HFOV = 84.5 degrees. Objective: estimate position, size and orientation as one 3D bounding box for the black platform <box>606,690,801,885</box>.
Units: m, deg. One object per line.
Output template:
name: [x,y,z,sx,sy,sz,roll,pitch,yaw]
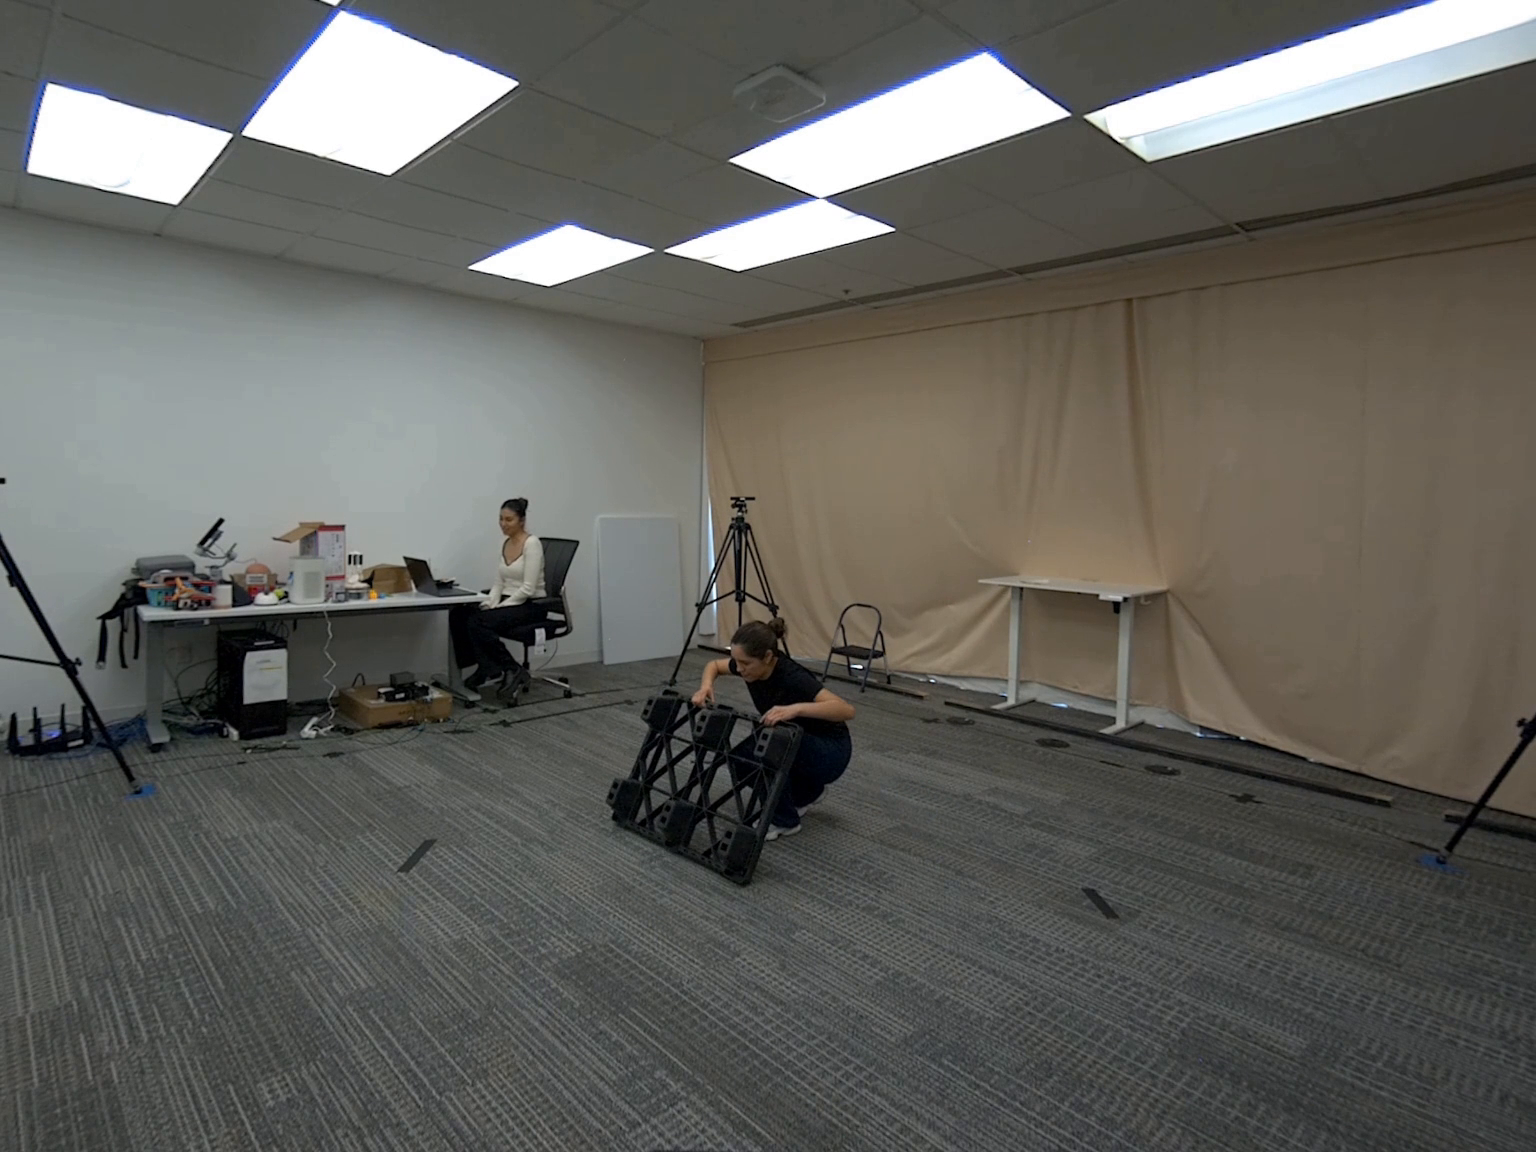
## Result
black platform: [-0.295,0.788,3.338,0.826,0.609,0.139,5,-24,45]
